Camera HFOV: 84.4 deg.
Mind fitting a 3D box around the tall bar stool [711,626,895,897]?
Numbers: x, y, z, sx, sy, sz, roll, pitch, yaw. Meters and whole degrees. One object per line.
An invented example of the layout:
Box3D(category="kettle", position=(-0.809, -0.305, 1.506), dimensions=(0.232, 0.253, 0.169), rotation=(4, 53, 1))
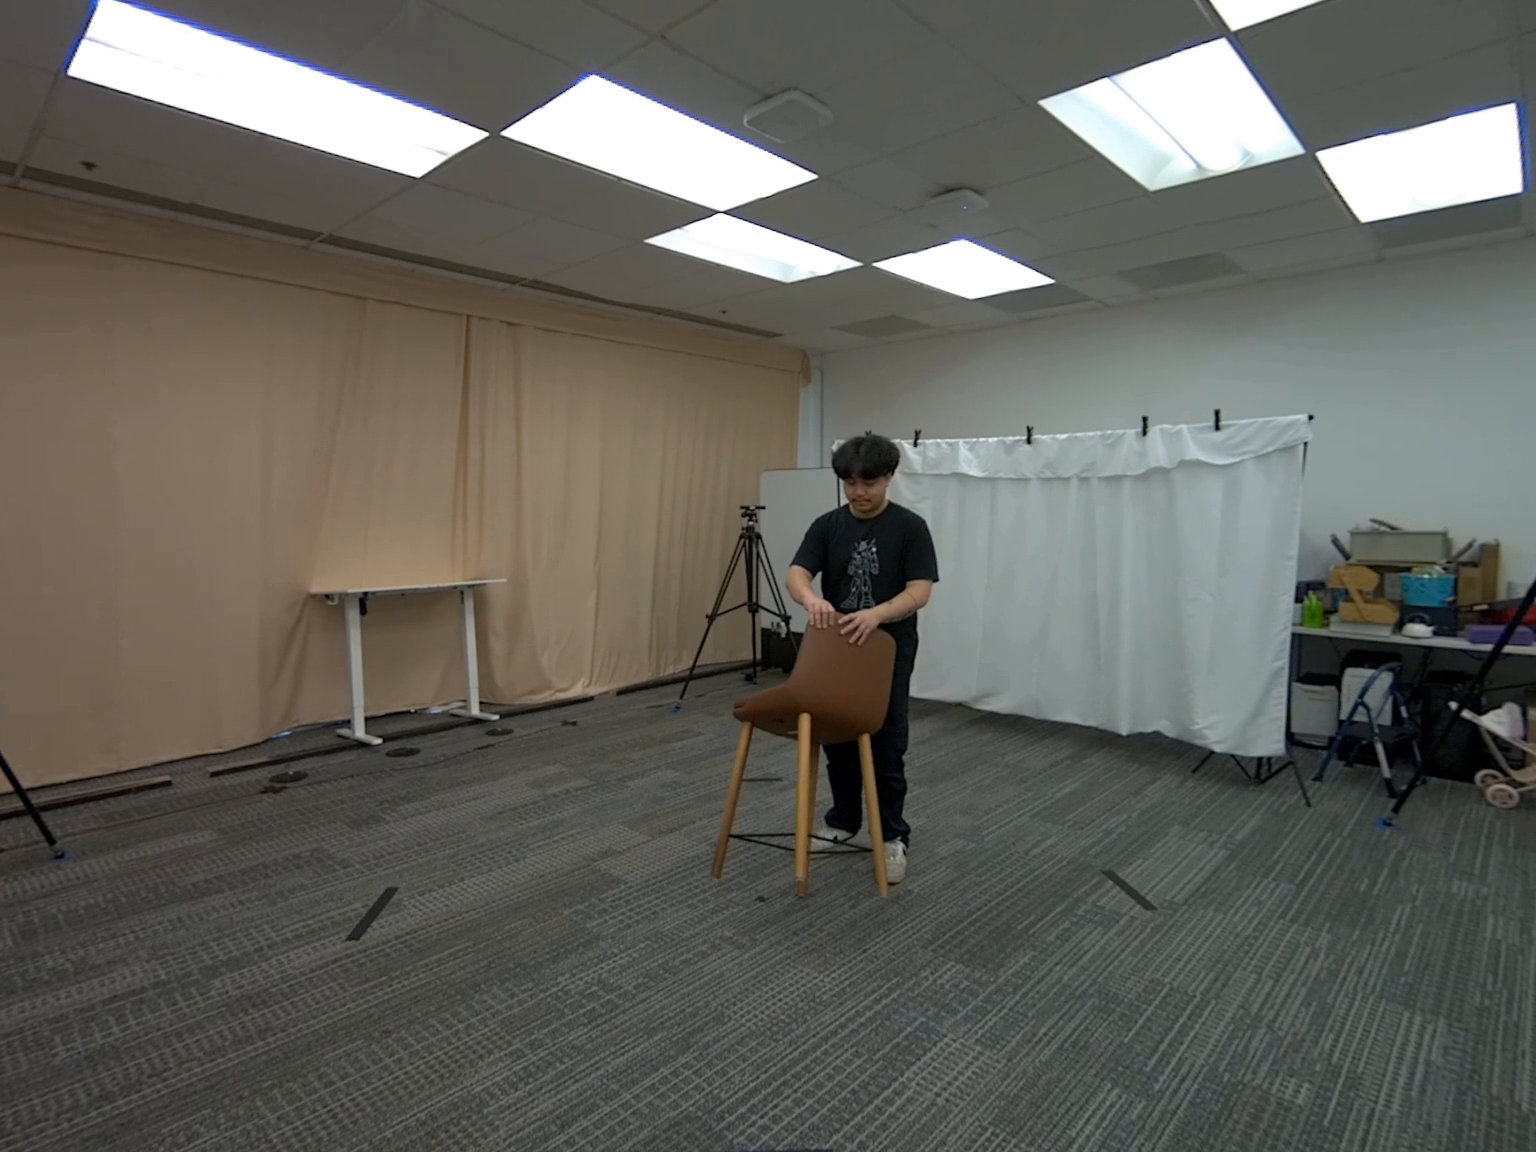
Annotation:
Box3D(category="tall bar stool", position=(0.146, 0.625, 2.928), dimensions=(0.442, 0.899, 0.477), rotation=(21, -27, -30))
